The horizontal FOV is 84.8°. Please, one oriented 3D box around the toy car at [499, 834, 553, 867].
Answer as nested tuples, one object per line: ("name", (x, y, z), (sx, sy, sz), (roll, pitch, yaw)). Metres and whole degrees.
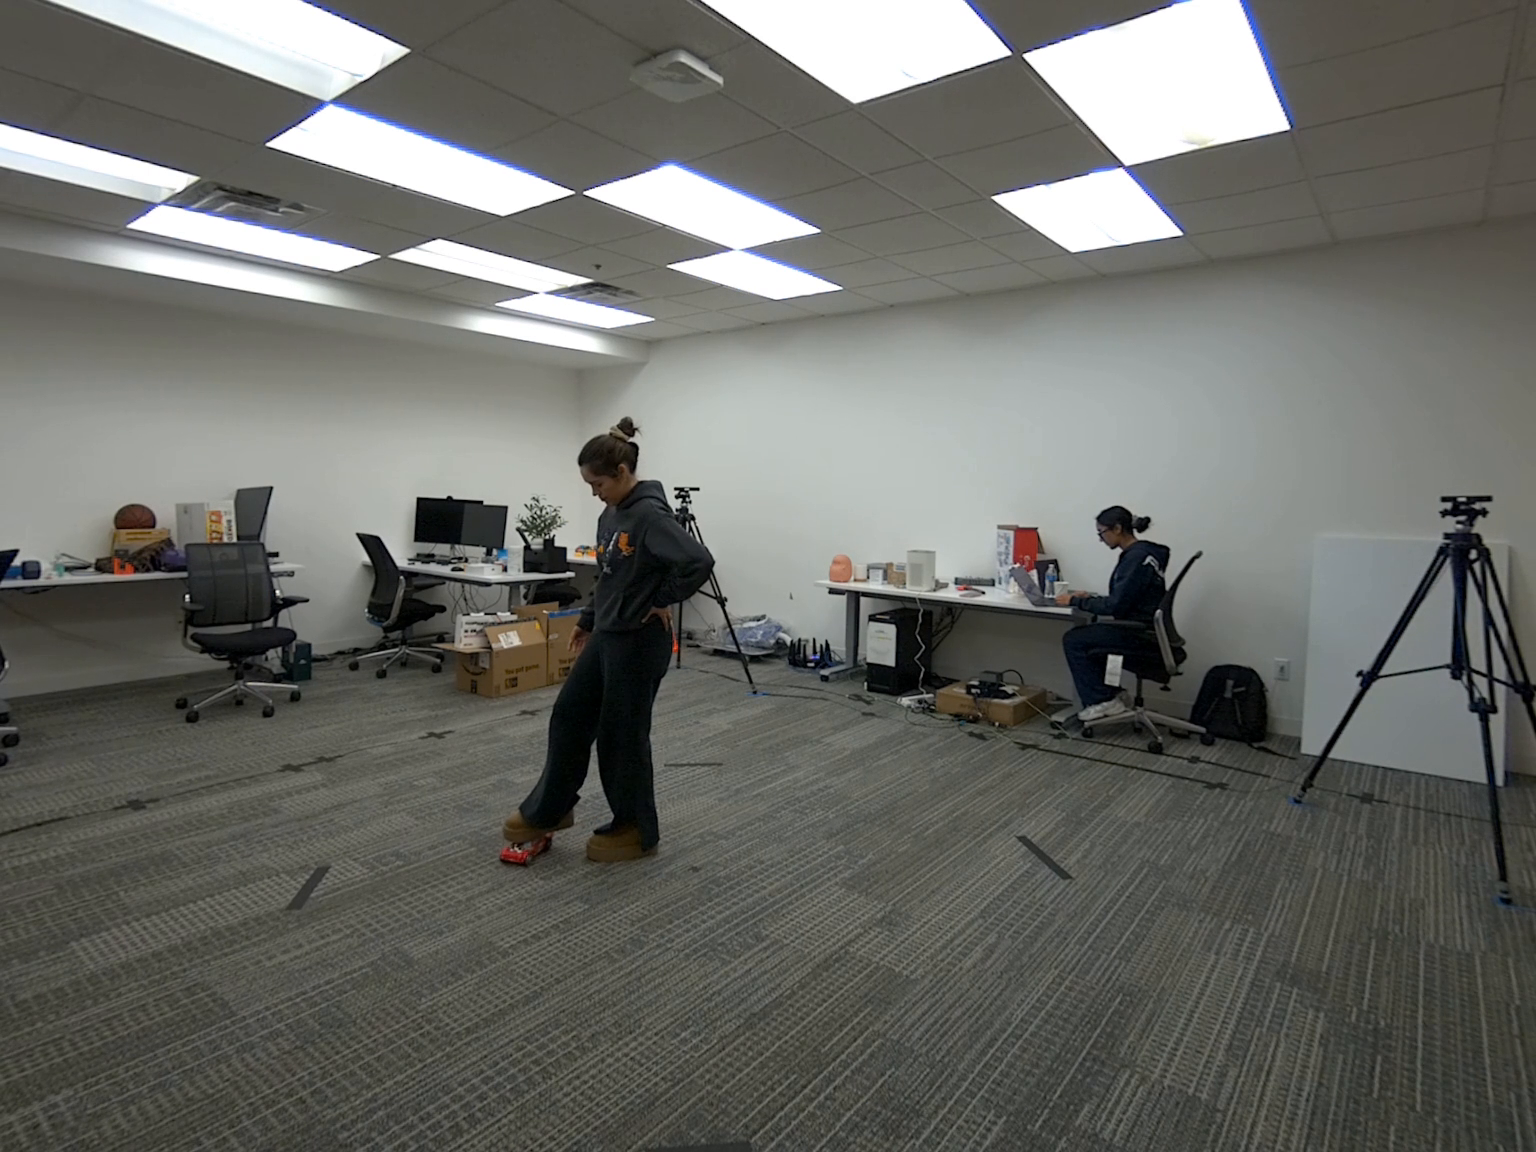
("toy car", (-0.902, 1.020, 3.226), (0.133, 0.082, 0.253), (1, 16, 16))
